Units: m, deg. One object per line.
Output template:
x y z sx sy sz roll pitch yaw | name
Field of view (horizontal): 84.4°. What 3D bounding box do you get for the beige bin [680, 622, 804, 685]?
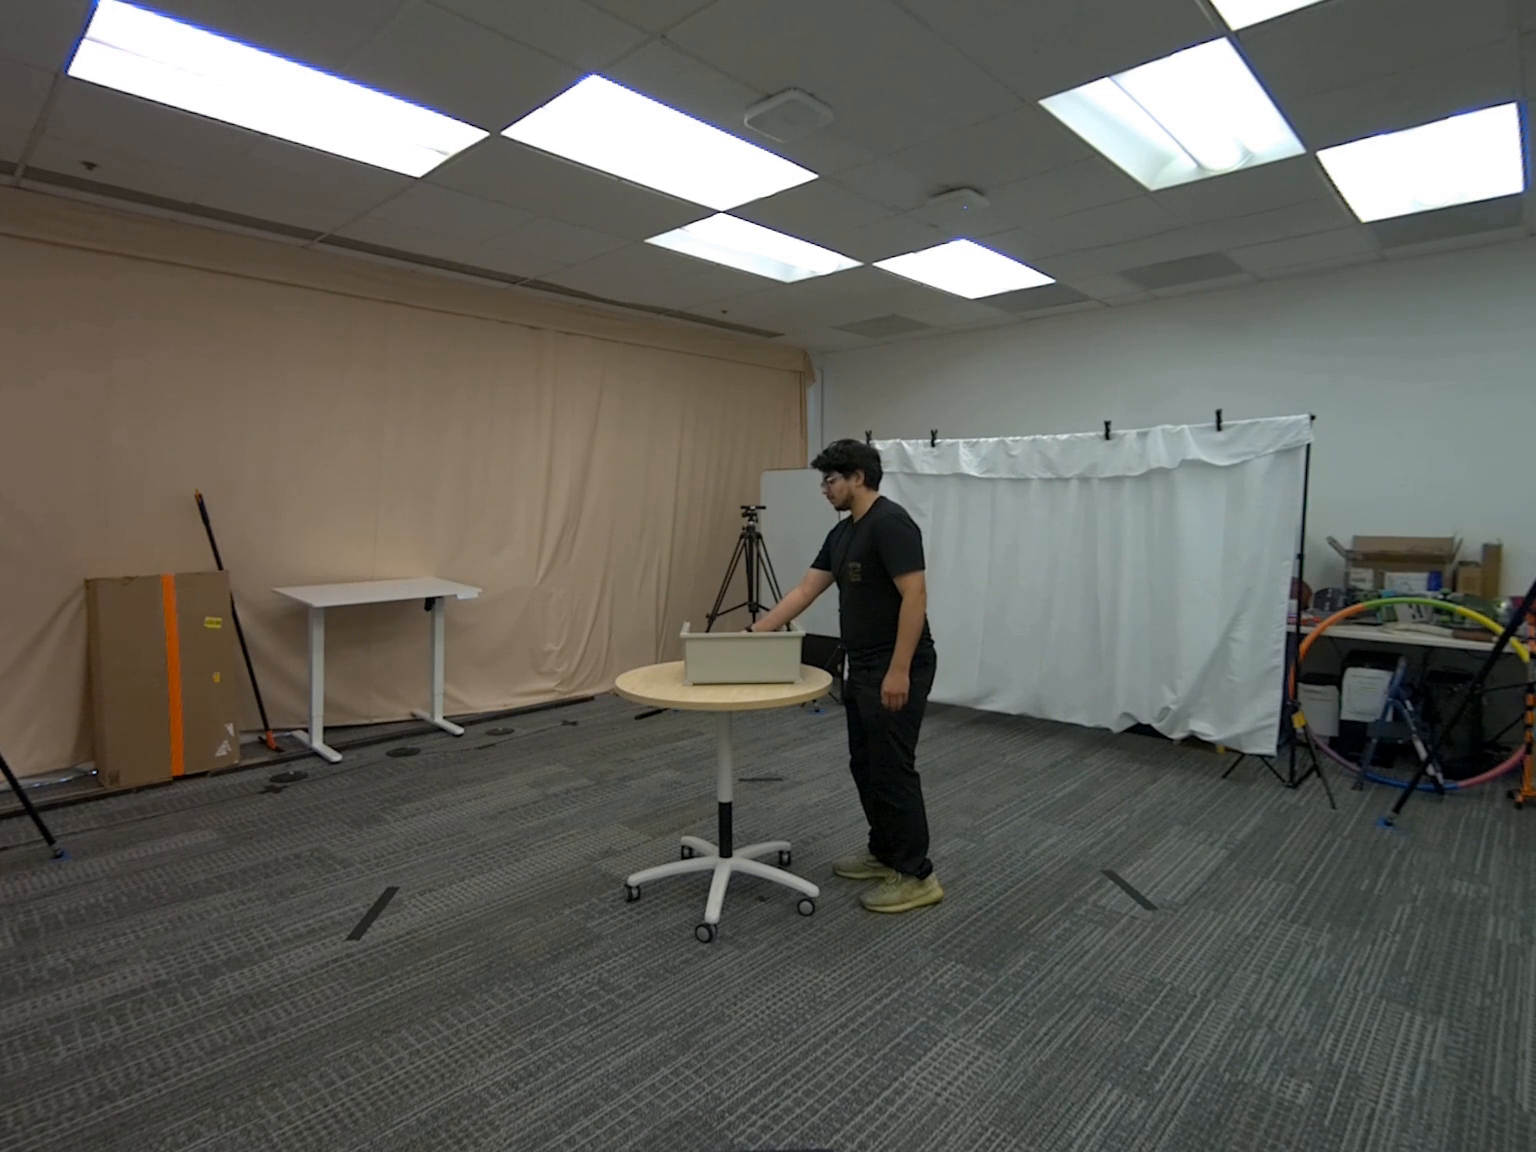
-0.095 0.269 3.036 0.422 0.188 0.379 0 5 -2 | beige bin
